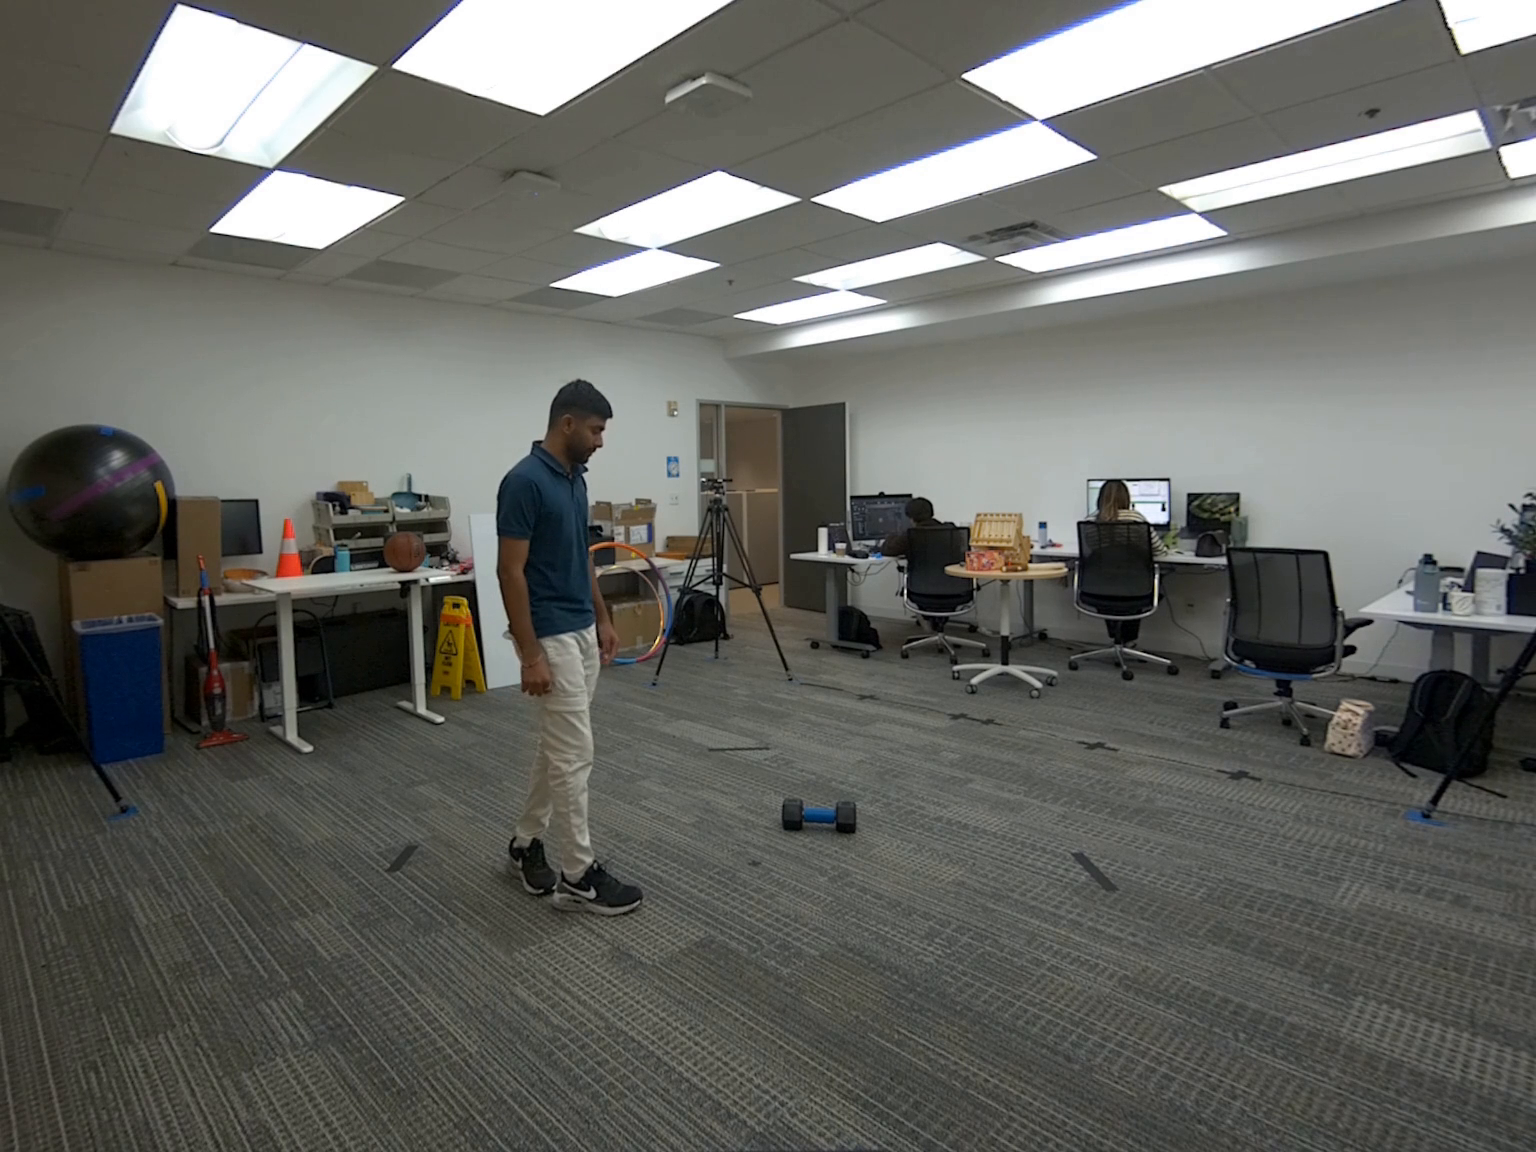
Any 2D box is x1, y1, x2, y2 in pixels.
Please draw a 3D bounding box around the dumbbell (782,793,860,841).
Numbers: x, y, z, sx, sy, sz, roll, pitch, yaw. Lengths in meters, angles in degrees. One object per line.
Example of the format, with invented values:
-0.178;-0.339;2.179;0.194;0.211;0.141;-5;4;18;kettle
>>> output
0.211;0.955;3.401;0.296;0.119;0.110;1;34;9;dumbbell
